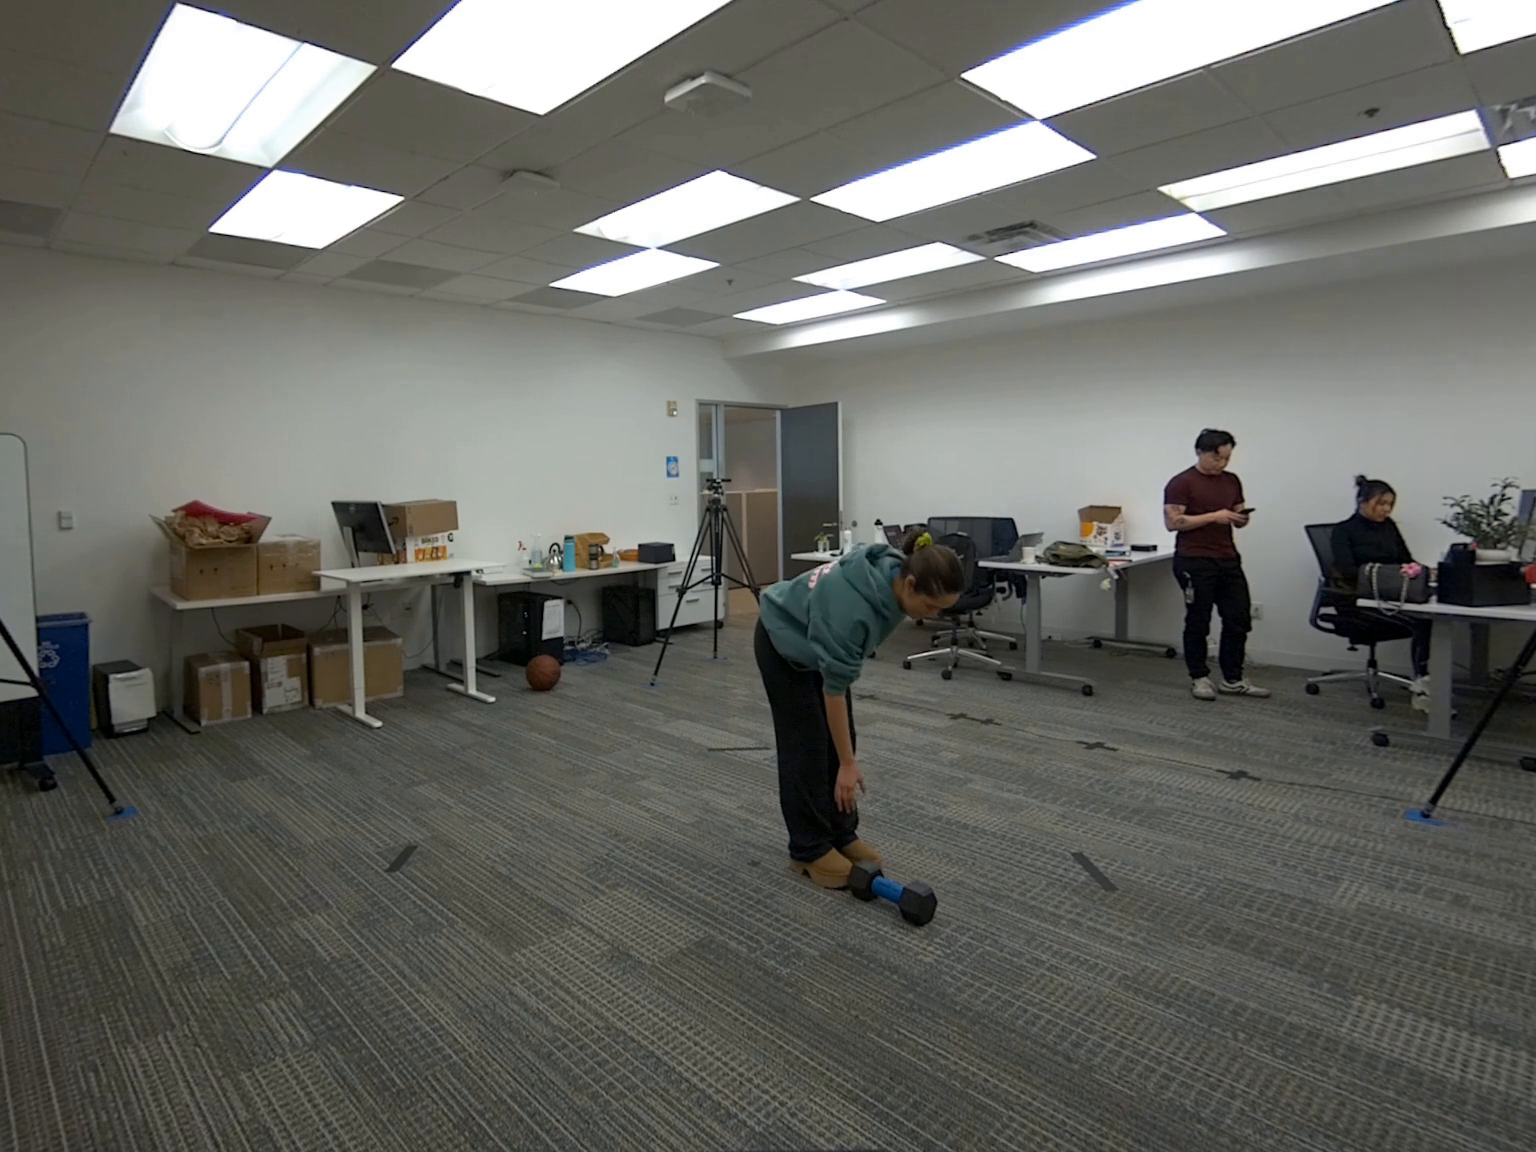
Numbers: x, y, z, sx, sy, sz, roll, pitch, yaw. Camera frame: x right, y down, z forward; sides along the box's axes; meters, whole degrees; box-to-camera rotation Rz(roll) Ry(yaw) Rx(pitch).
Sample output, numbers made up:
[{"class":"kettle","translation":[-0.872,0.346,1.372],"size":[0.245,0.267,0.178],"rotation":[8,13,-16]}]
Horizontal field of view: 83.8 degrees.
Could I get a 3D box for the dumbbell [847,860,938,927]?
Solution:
[{"class":"dumbbell","translation":[0.404,1.023,2.760],"size":[0.303,0.124,0.105],"rotation":[5,-22,48]}]
